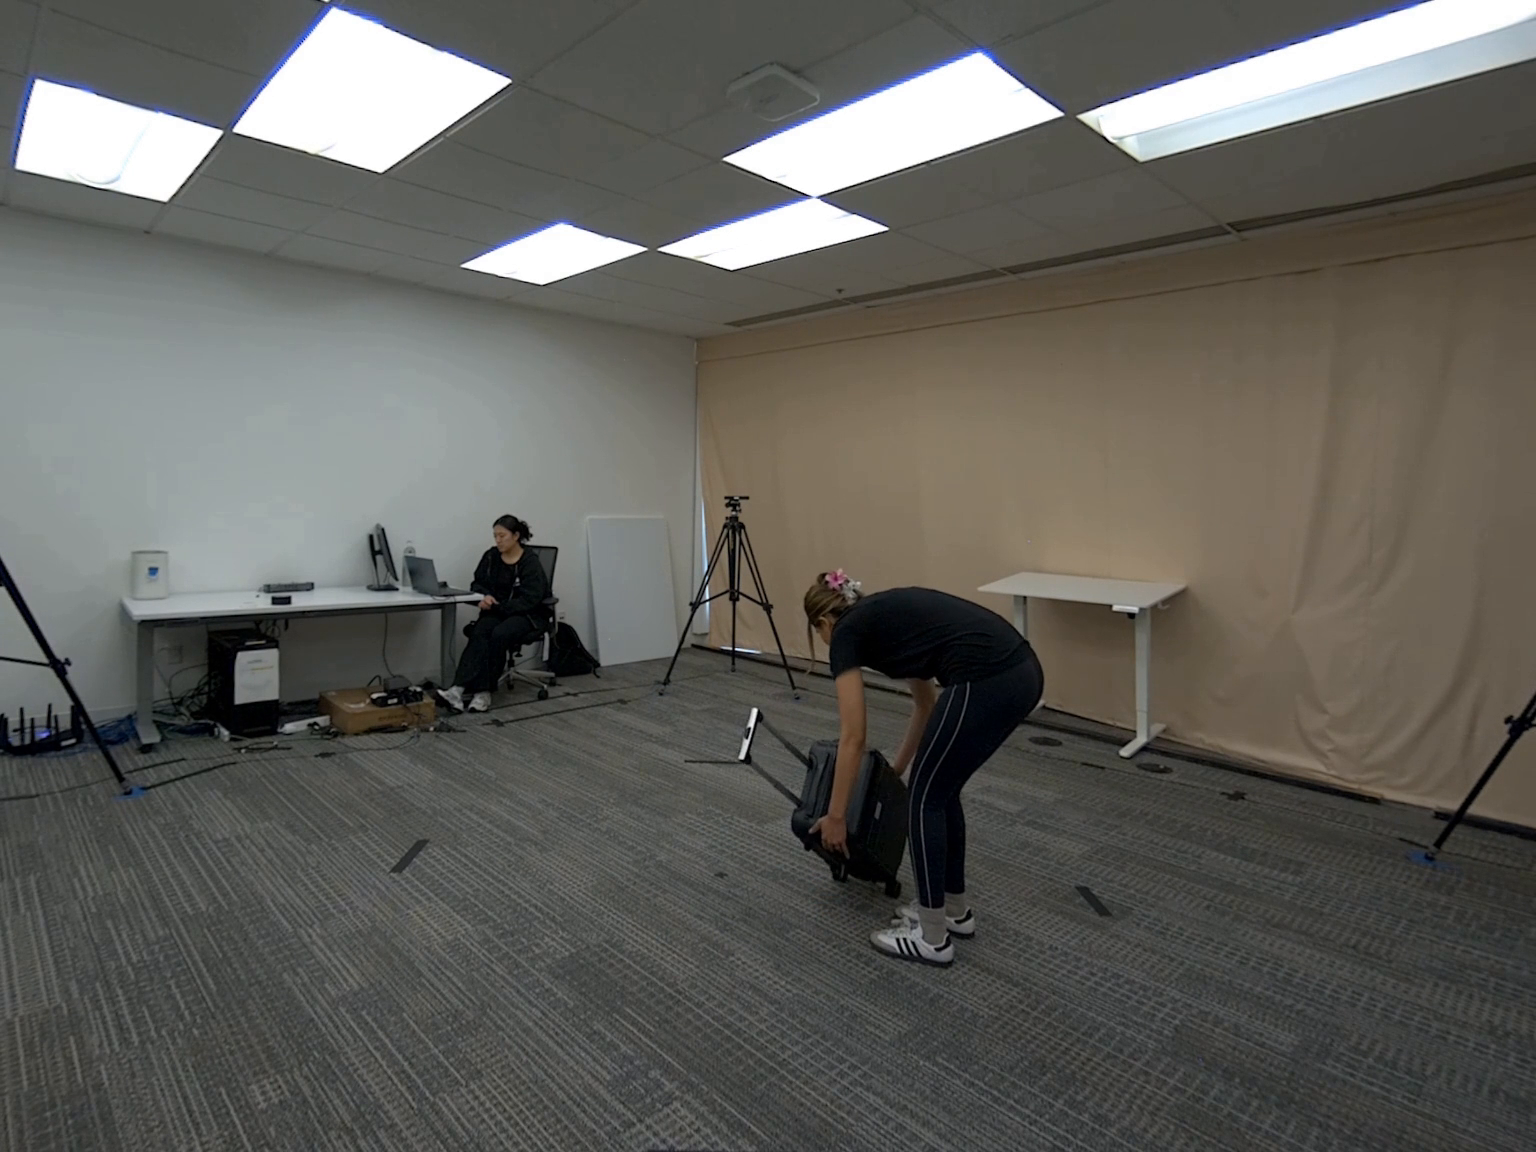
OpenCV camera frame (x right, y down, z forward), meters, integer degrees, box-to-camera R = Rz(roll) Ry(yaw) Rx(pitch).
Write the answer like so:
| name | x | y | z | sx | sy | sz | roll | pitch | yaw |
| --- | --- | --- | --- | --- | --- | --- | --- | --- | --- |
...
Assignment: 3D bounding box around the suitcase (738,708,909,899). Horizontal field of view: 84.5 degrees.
| name | x | y | z | sx | sy | sz | roll | pitch | yaw |
| --- | --- | --- | --- | --- | --- | --- | --- | --- | --- |
| suitcase | 0.223 | 0.718 | 2.773 | 0.263 | 0.387 | 0.948 | 6 | -29 | 30 |
